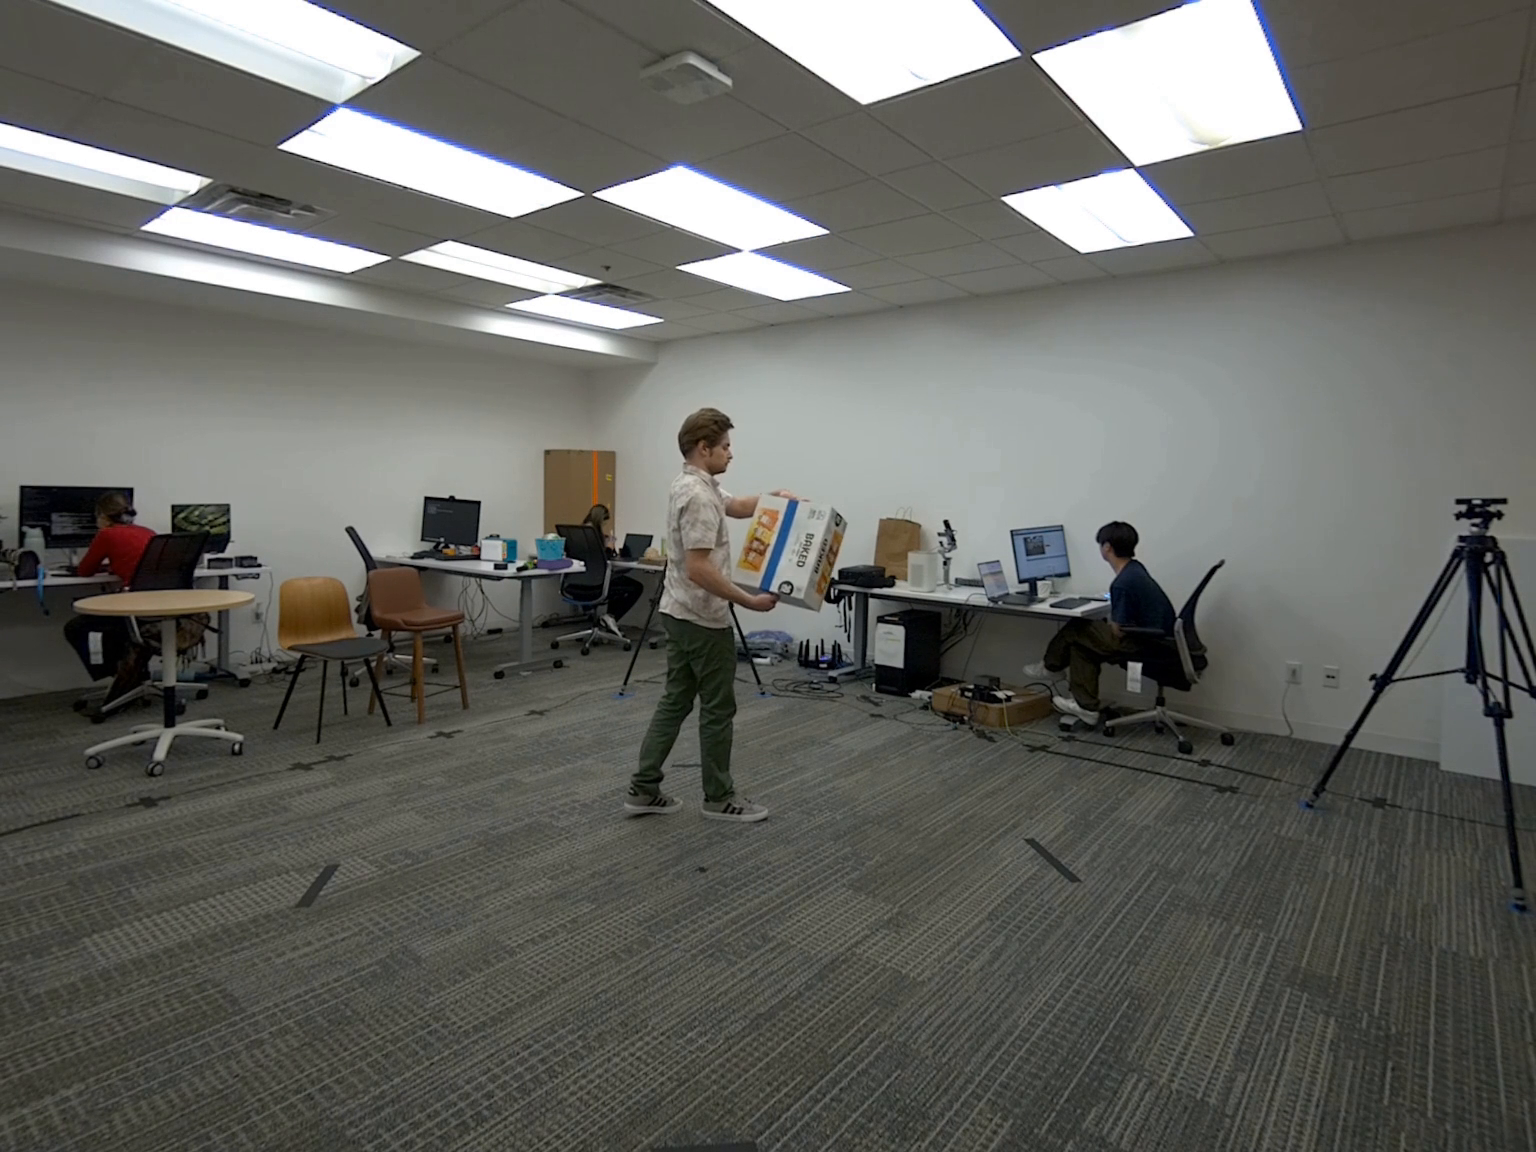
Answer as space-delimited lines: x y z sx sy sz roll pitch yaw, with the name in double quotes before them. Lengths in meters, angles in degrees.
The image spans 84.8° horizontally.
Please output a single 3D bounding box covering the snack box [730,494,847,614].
"snack box" 0.083 -0.100 3.550 0.351 0.408 0.198 12 -13 30
